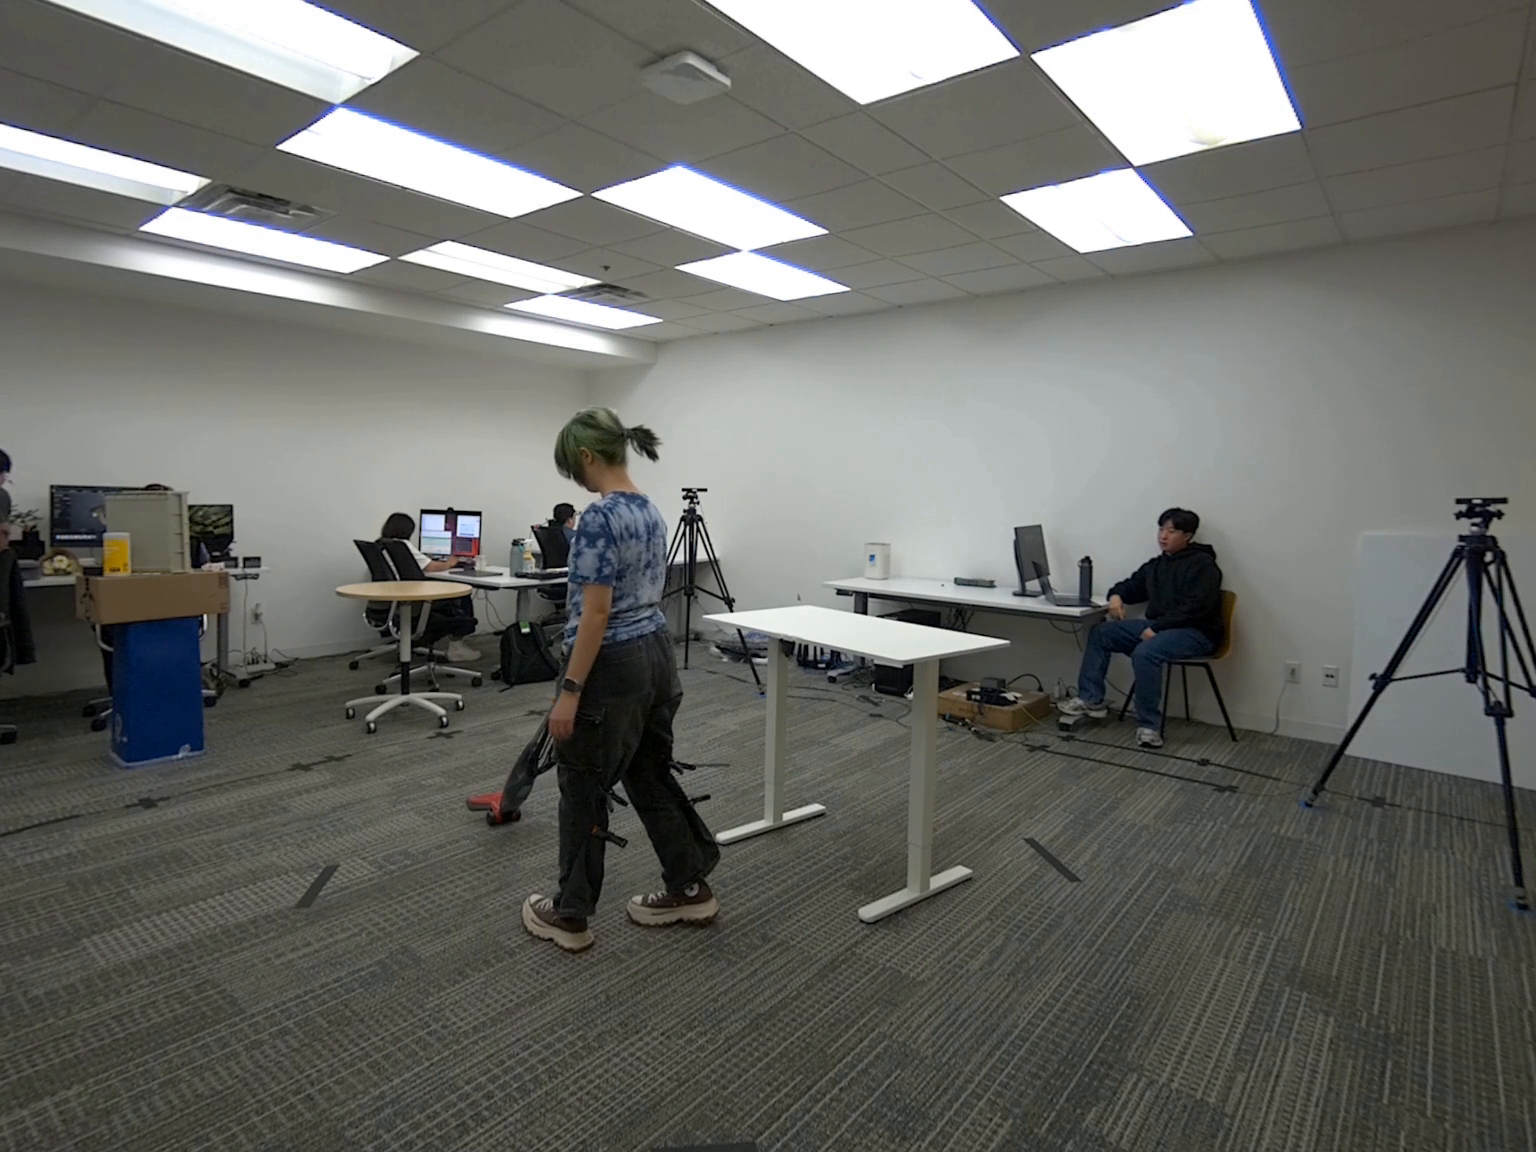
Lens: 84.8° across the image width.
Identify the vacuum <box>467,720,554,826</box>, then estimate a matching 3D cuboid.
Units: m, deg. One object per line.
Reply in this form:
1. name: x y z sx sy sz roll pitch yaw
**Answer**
1. vacuum: -0.899 0.679 3.228 0.245 0.148 1.046 -7 -31 -40
